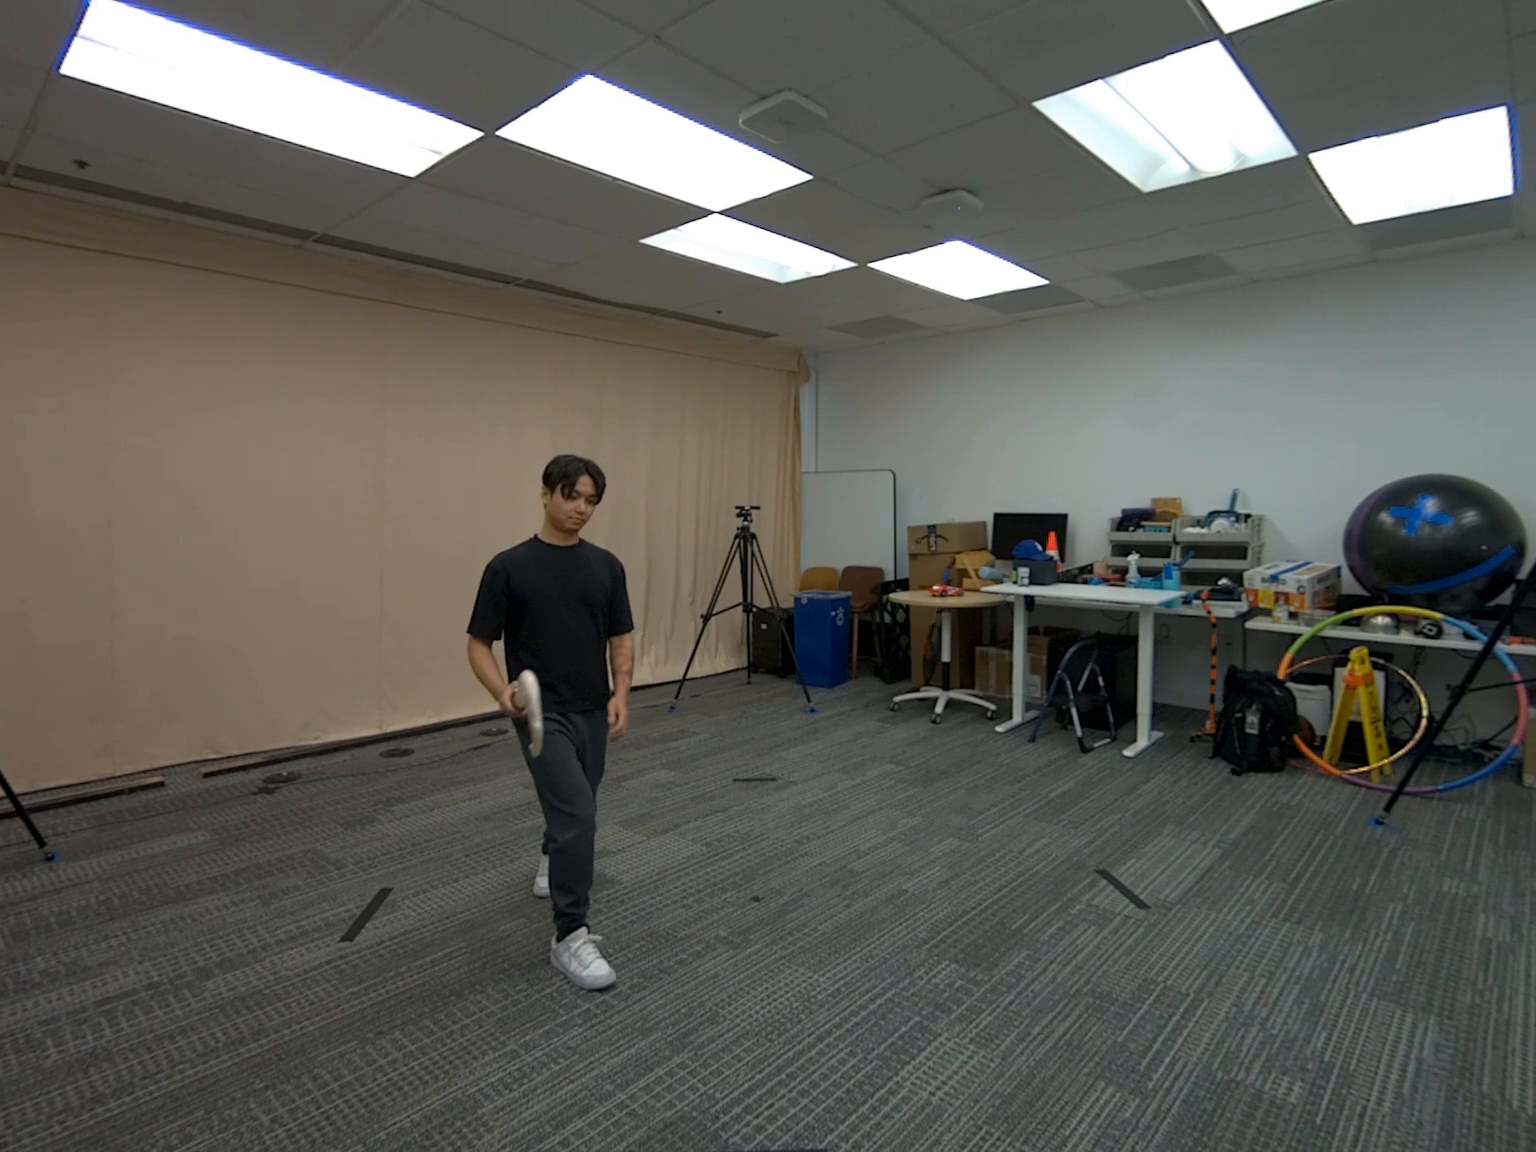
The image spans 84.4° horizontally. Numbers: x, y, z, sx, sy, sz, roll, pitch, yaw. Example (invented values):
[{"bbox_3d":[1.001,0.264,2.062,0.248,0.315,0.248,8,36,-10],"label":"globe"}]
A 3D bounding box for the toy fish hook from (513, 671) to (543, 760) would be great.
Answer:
[{"bbox_3d":[-0.674,0.384,2.352,0.047,0.227,0.511,-1,-13,-19],"label":"toy fish hook"}]
